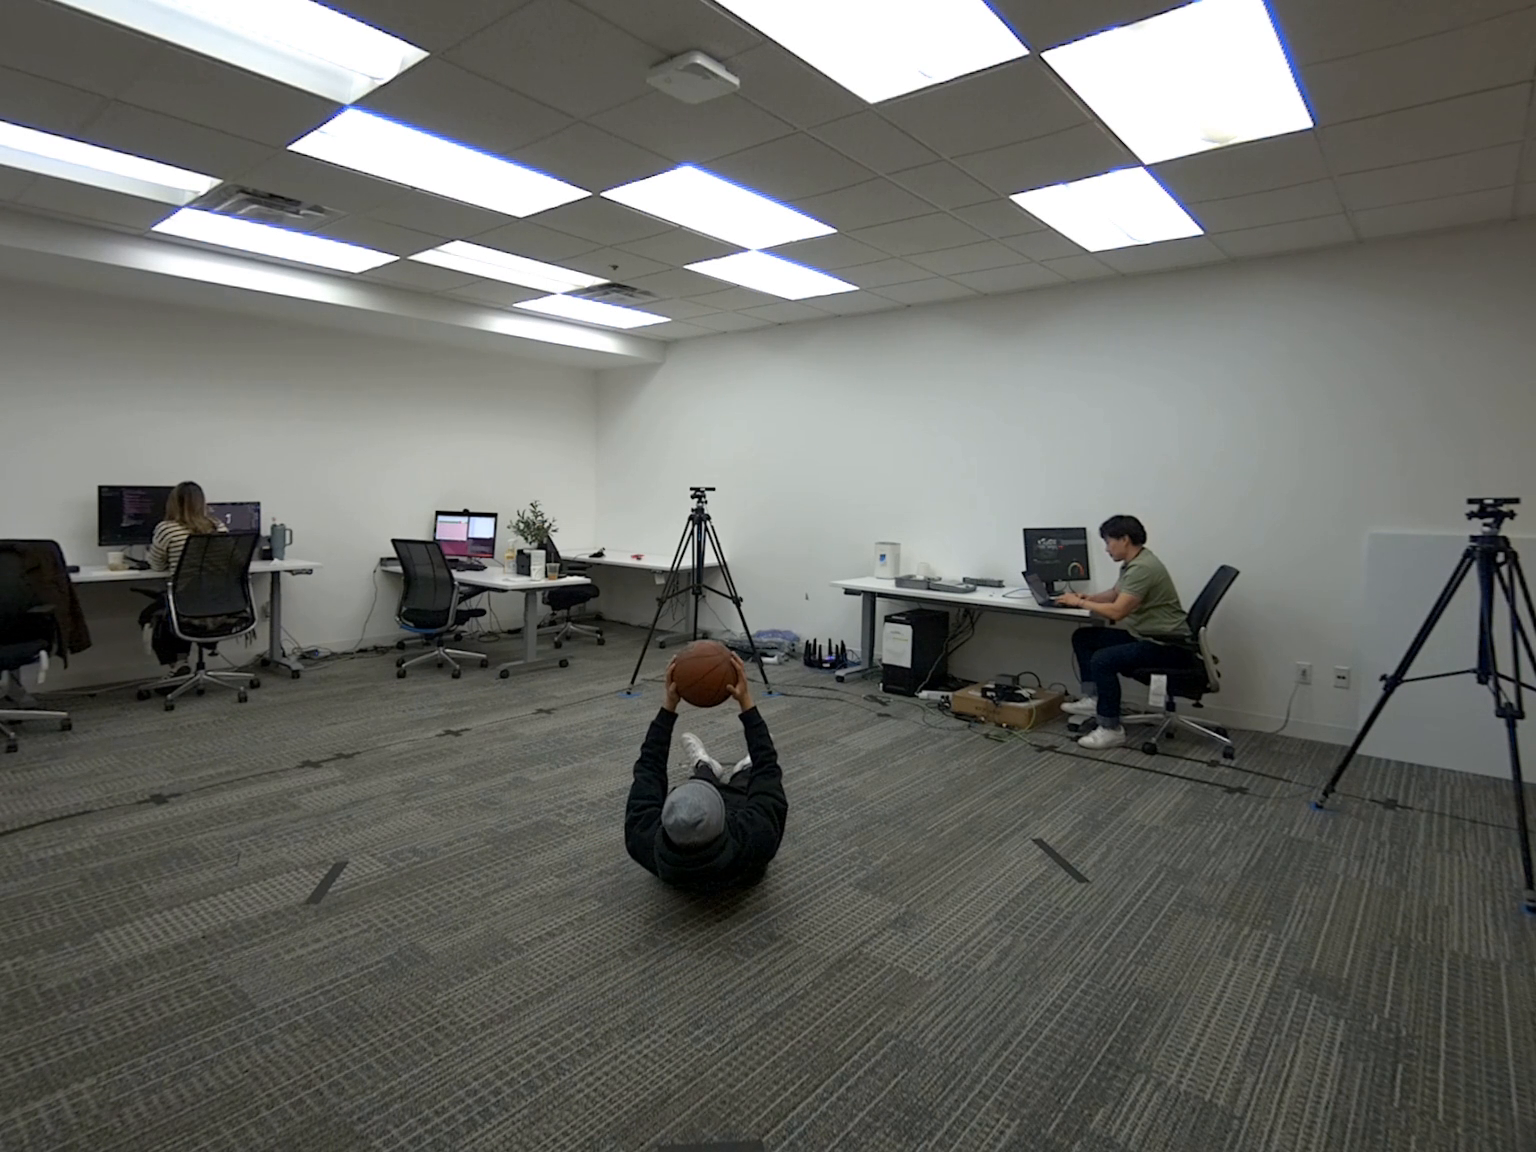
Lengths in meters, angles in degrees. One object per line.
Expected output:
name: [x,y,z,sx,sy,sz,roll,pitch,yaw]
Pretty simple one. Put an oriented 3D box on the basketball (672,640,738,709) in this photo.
basketball: [-0.232,0.347,3.022,0.235,0.235,0.237,1,4,-2]
